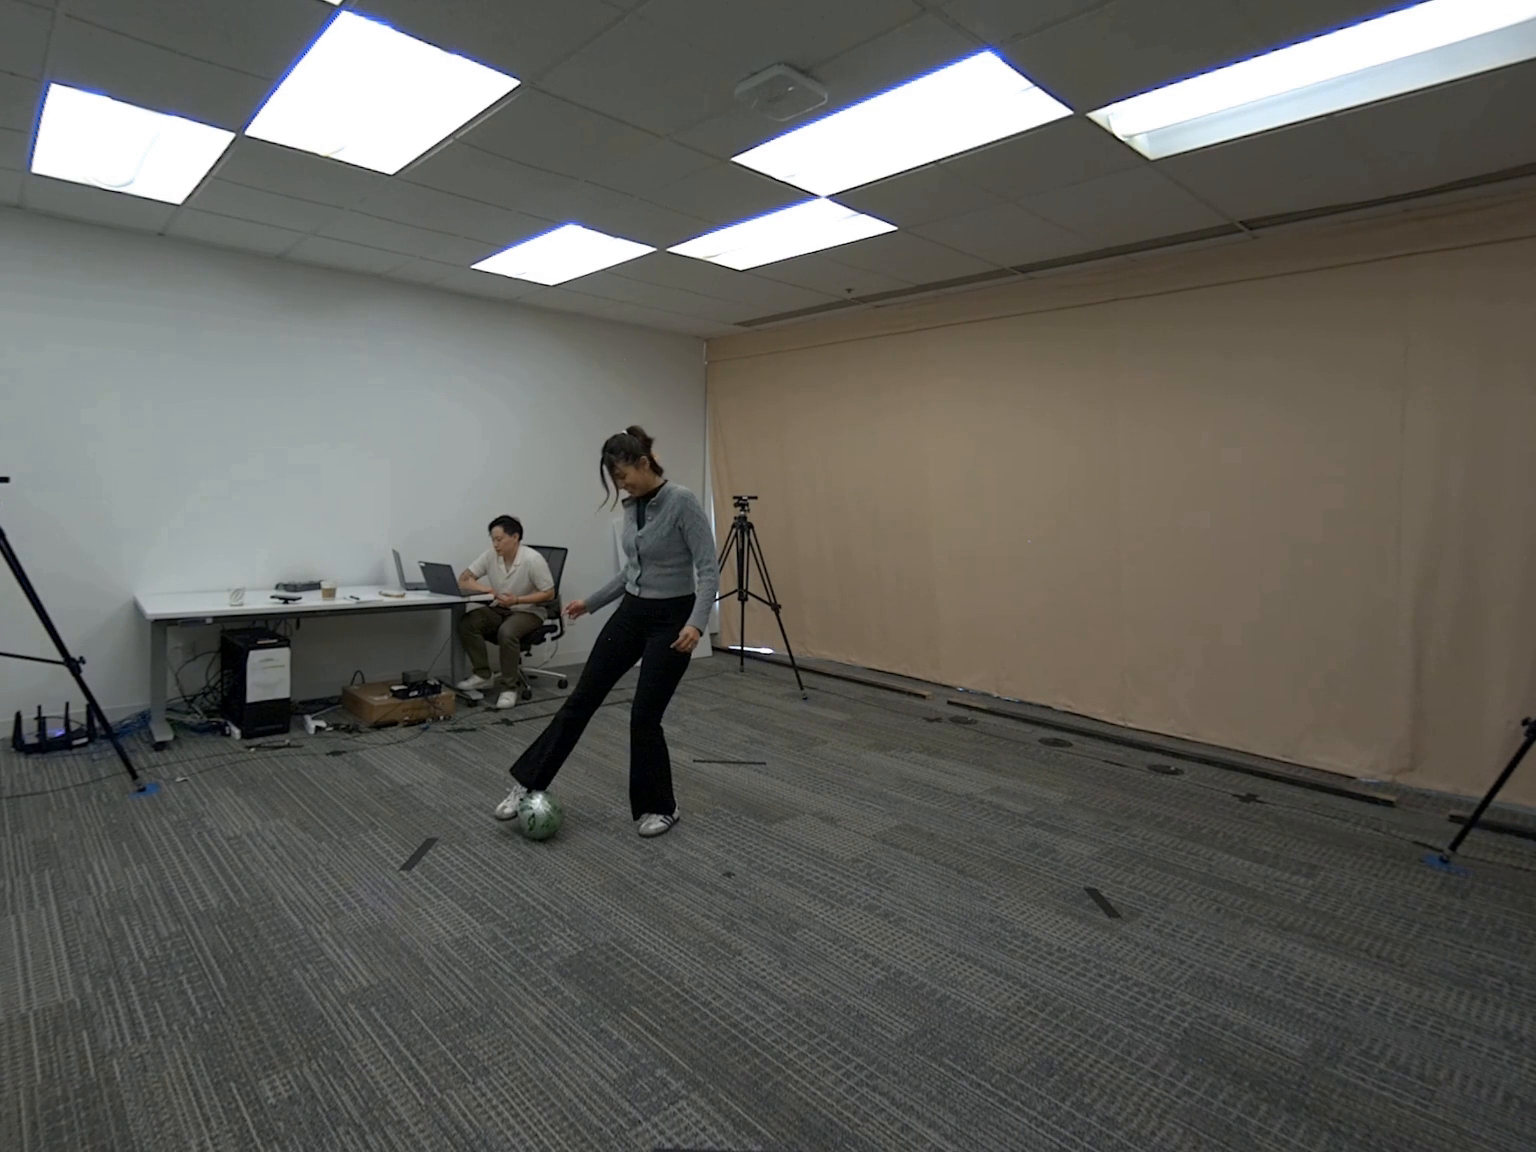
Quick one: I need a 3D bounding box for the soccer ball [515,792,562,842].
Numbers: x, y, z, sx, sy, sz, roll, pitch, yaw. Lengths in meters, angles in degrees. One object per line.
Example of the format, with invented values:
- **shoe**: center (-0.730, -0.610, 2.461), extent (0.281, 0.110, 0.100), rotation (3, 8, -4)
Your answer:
- **soccer ball**: center (-0.895, 0.968, 3.384), extent (0.187, 0.187, 0.188), rotation (1, 4, -1)
